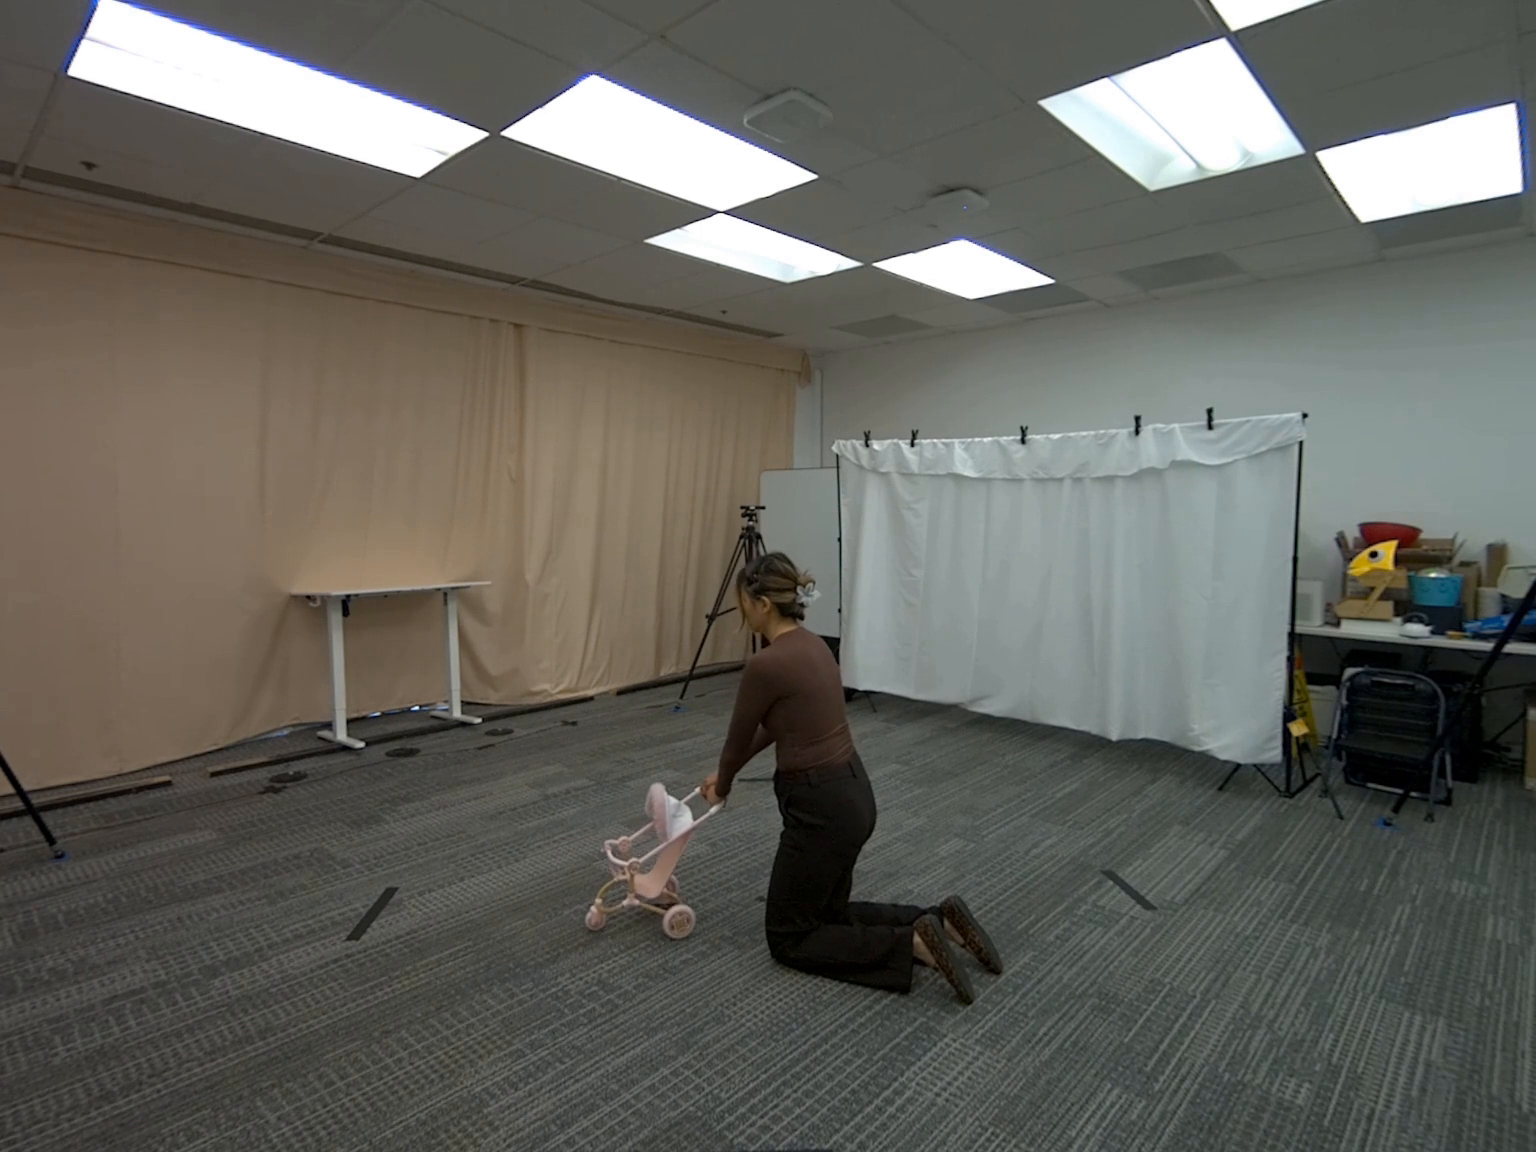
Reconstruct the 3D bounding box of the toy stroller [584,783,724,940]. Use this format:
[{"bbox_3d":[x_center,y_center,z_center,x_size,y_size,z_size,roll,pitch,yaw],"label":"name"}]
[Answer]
[{"bbox_3d":[-0.382,0.933,2.812,0.337,0.535,0.285,16,0,-12],"label":"toy stroller"}]
